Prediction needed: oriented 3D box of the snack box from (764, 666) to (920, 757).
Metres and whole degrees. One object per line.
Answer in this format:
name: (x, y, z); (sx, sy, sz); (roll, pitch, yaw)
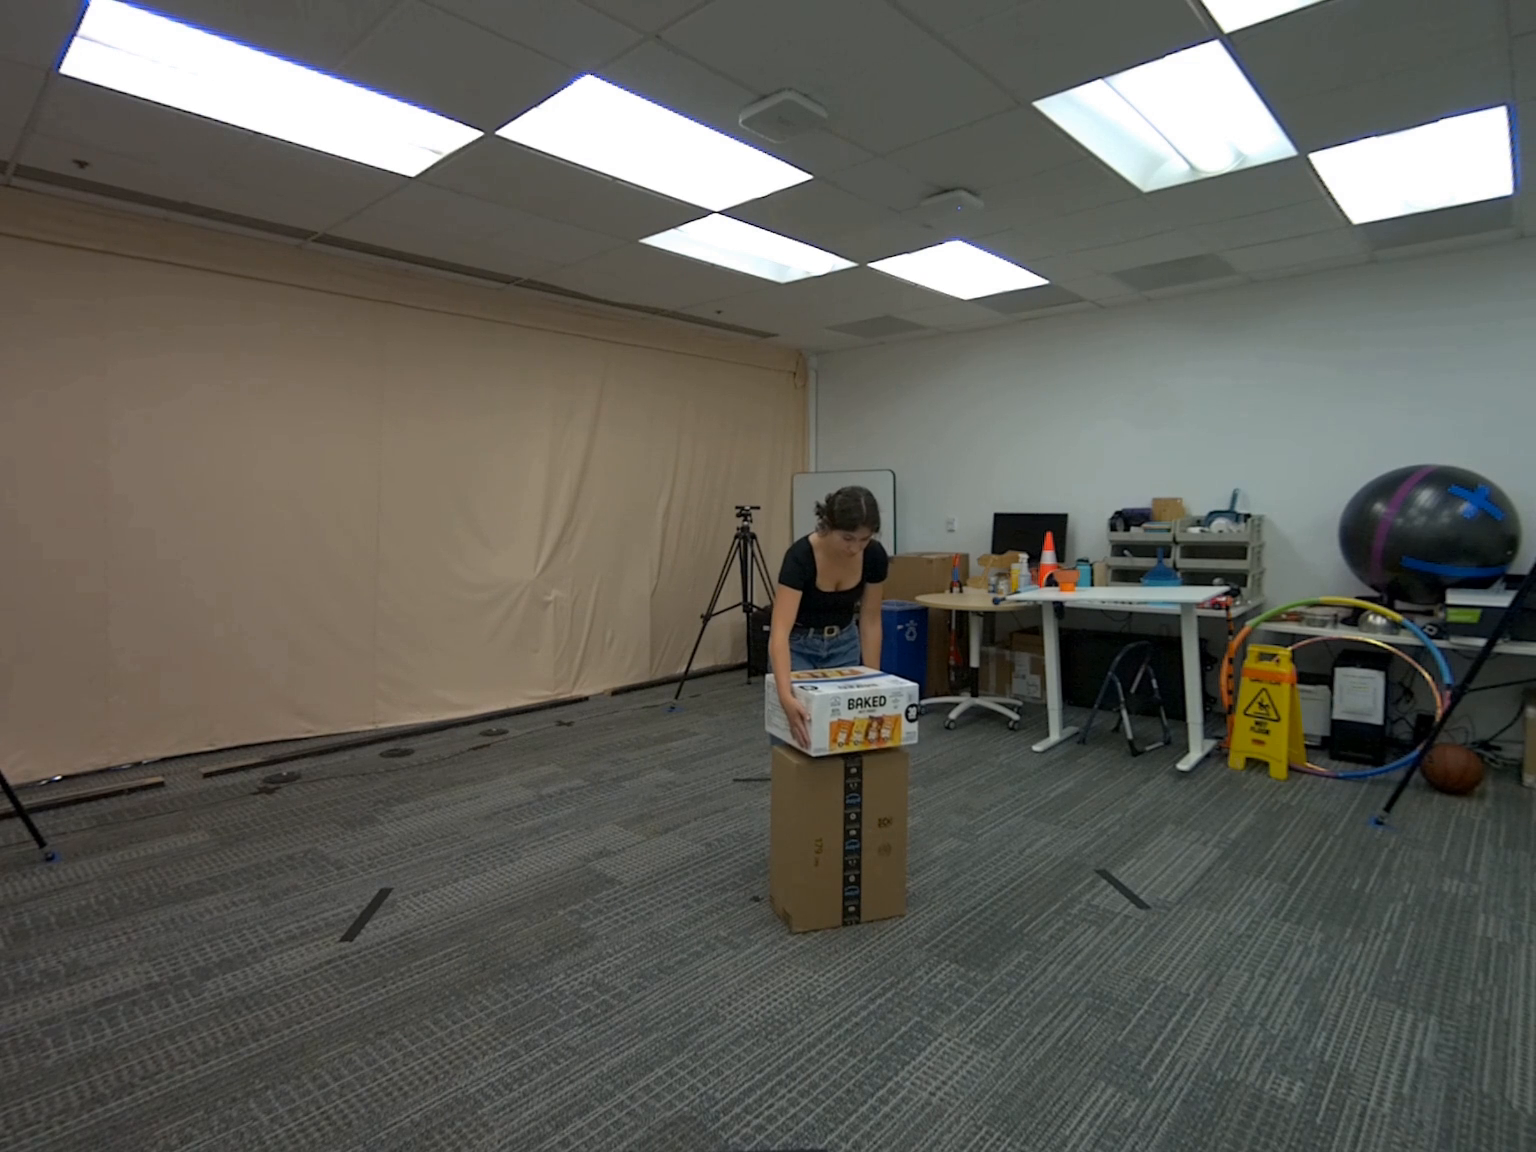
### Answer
snack box: (0.246, 0.449, 2.880); (0.396, 0.205, 0.349); (-2, 4, -24)
